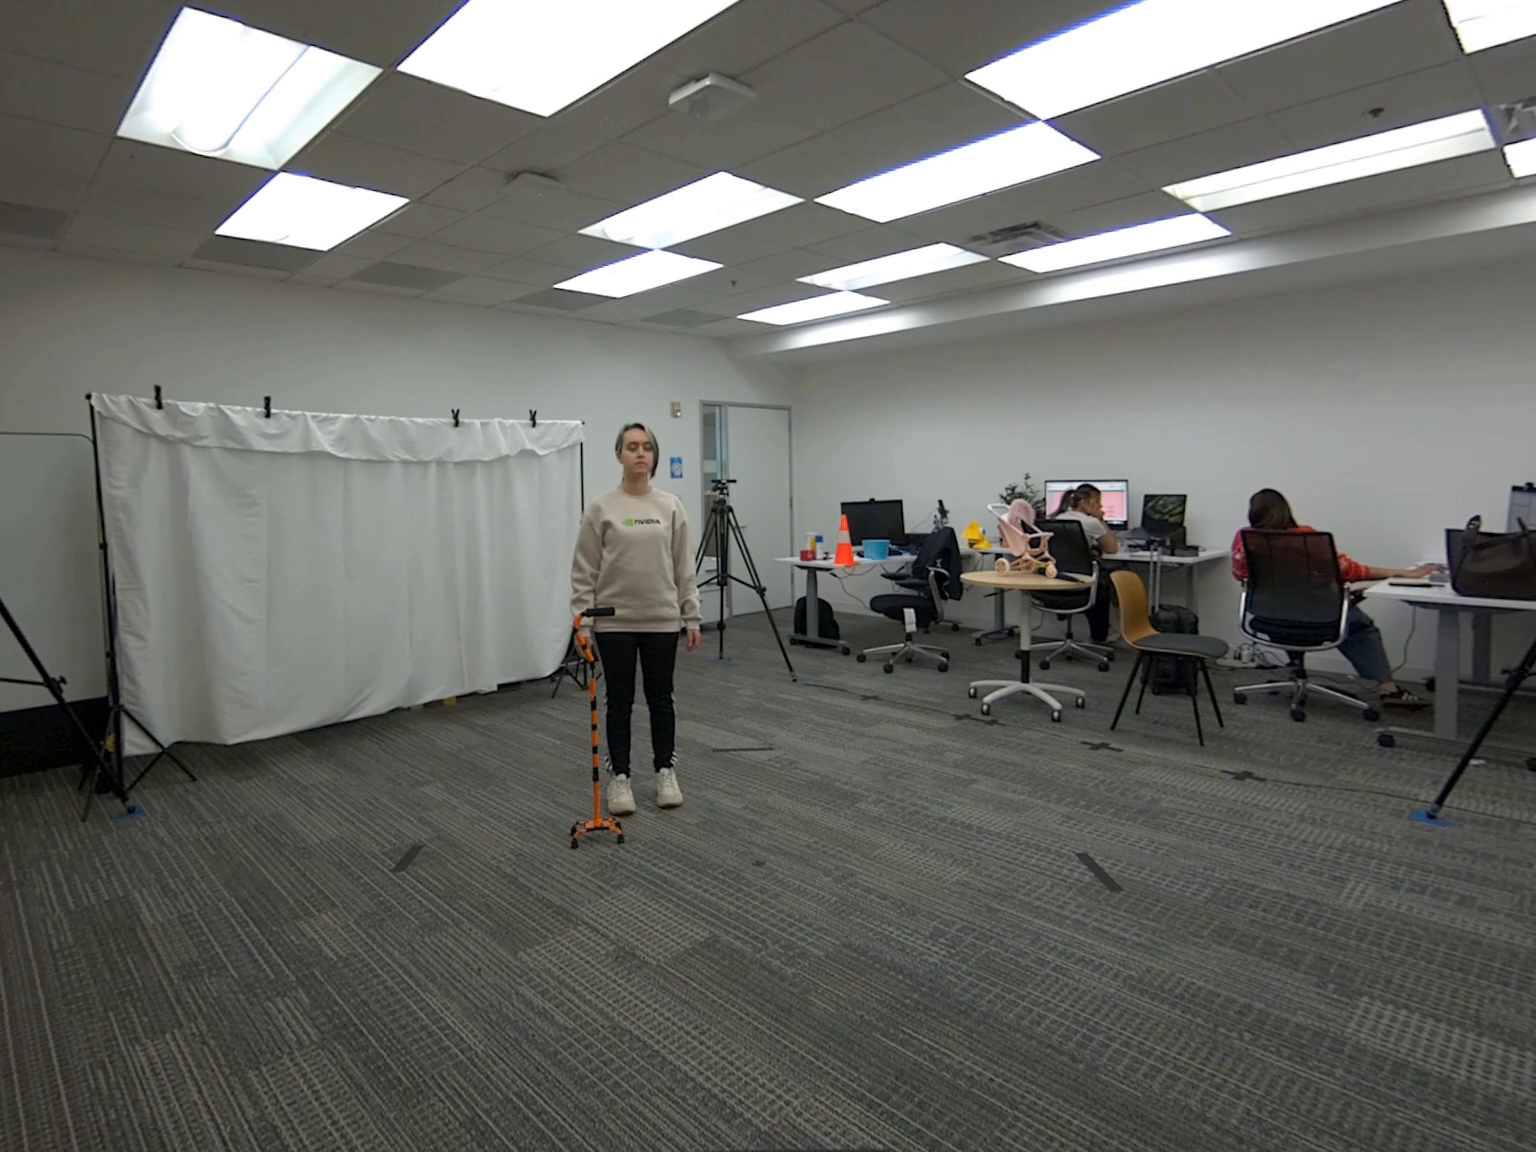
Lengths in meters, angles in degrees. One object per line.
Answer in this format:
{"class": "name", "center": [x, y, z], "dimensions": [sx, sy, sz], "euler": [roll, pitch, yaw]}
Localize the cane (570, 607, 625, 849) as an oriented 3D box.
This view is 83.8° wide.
{"class": "cane", "center": [-0.675, 0.583, 3.335], "dimensions": [0.204, 0.906, 0.154], "euler": [-1, 2, -14]}
